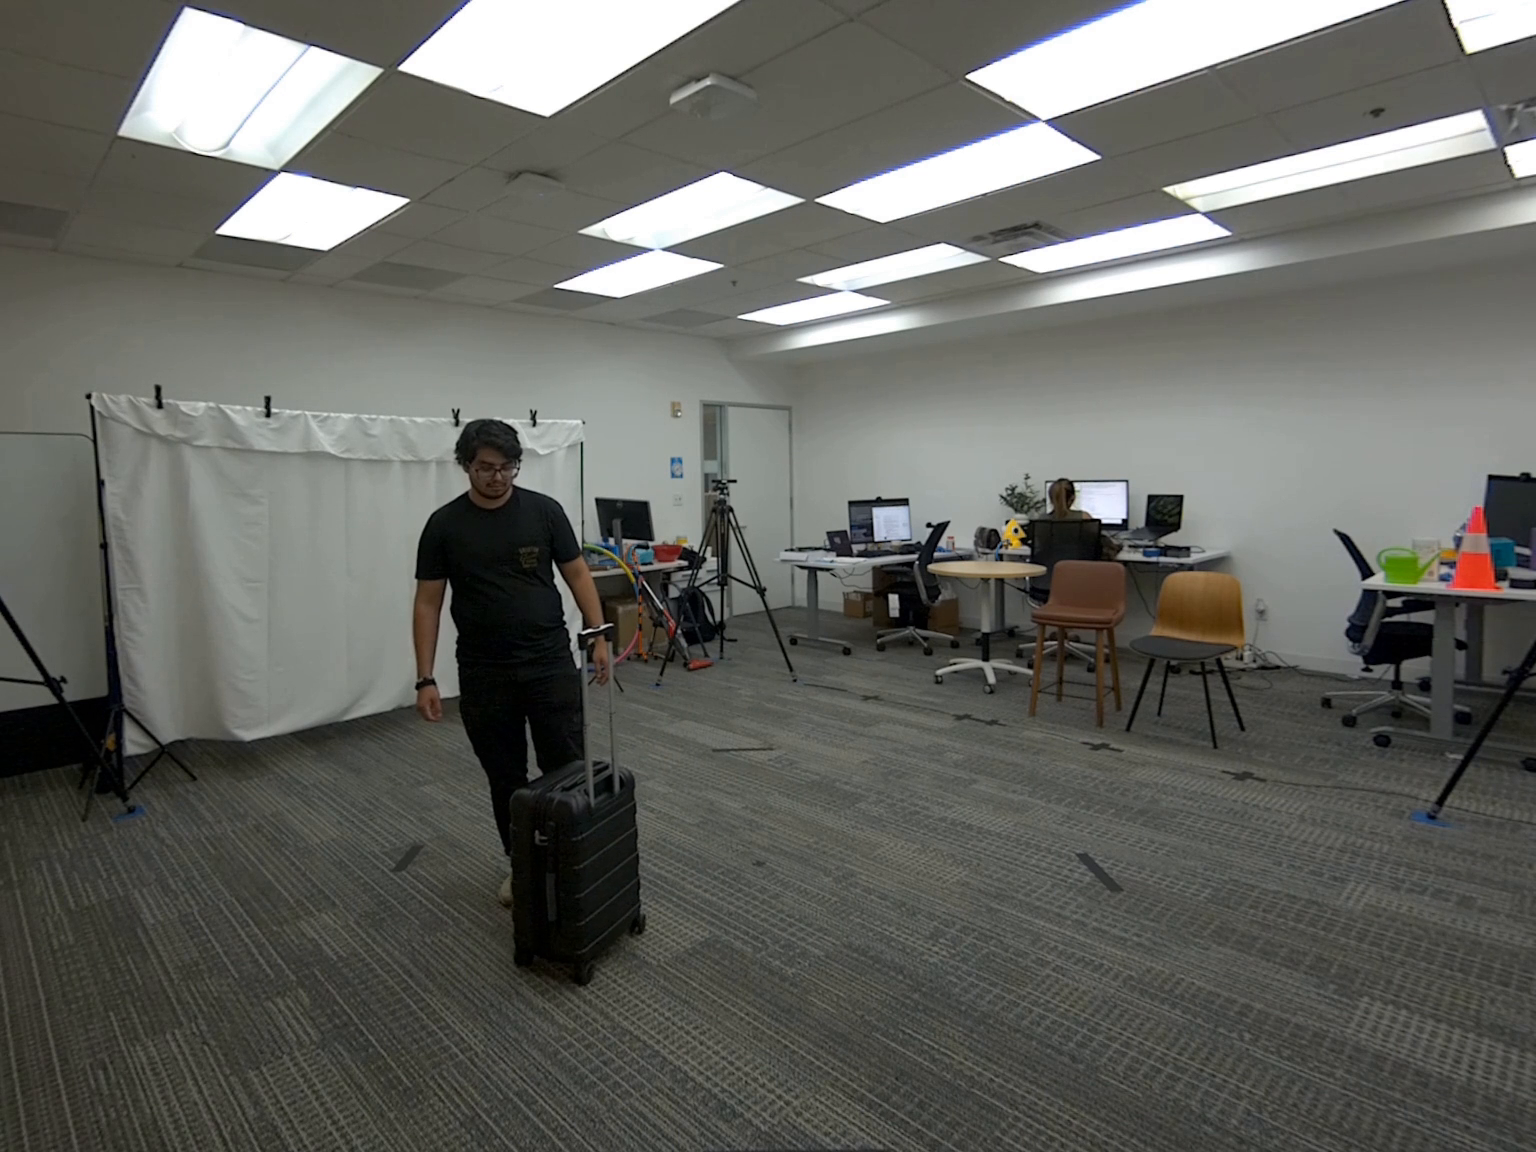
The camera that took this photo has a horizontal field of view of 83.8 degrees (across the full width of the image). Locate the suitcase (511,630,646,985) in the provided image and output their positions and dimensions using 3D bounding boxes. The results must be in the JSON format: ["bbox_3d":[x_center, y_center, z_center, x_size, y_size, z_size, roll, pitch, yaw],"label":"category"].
[{"bbox_3d":[-0.571,0.645,2.522,0.262,0.975,0.377,-1,4,23],"label":"suitcase"}]
